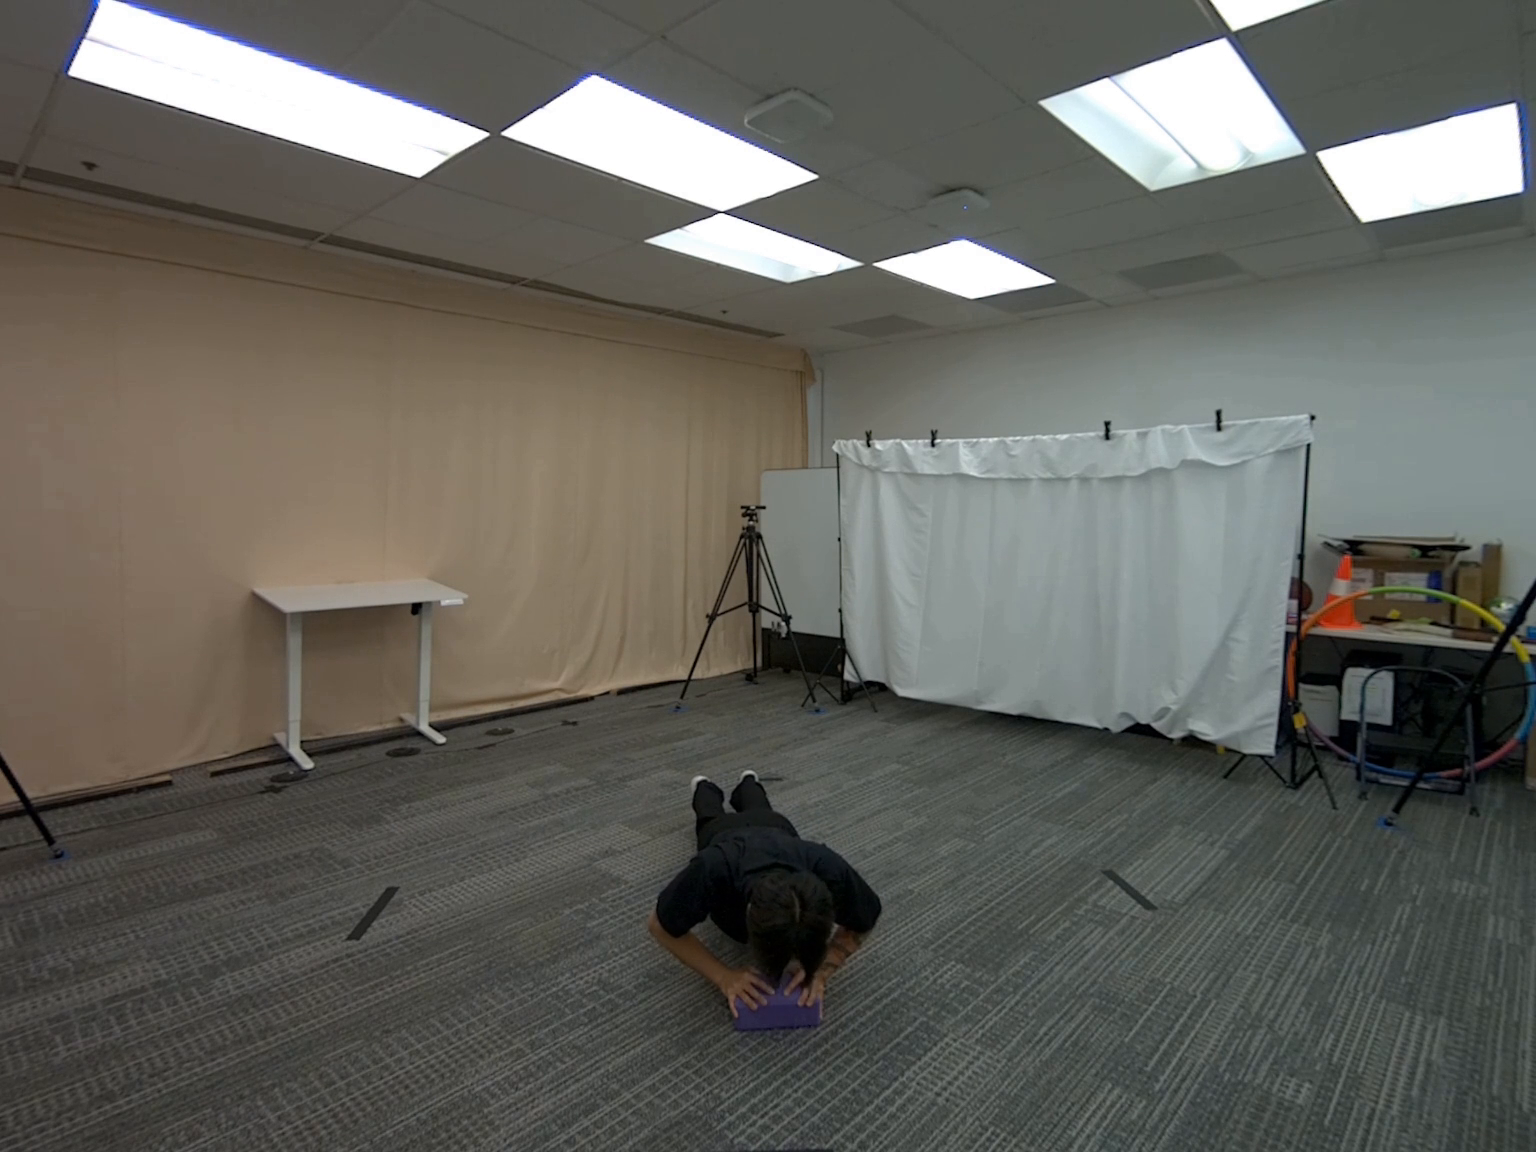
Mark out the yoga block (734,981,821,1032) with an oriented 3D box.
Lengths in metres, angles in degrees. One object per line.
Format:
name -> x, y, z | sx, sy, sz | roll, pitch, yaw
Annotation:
yoga block -> 0.019, 1.158, 2.312 | 0.228, 0.076, 0.151 | -1, 10, -6
